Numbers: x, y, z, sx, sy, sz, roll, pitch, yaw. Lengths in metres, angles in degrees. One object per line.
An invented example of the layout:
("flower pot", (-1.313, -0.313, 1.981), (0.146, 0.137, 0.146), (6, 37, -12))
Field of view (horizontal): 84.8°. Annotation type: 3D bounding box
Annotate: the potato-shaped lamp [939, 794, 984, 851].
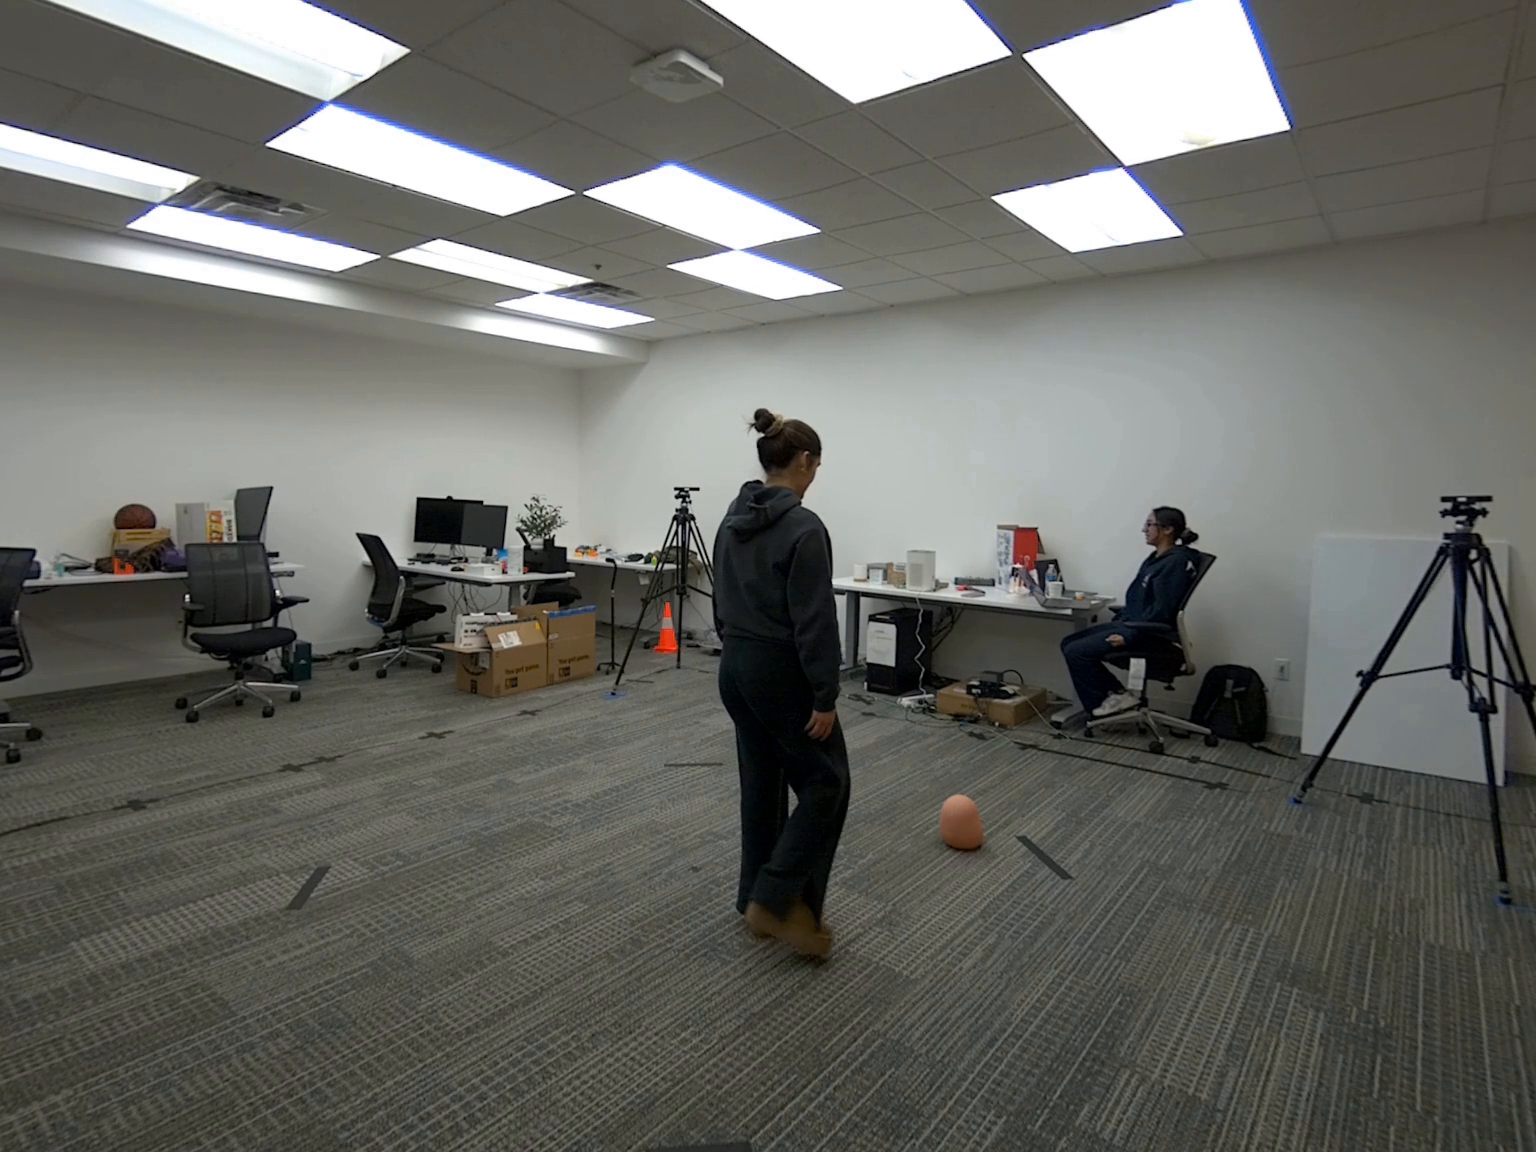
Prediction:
("potato-shaped lamp", (0.762, 0.958, 3.368), (0.167, 0.196, 0.170), (-9, 10, -39))
